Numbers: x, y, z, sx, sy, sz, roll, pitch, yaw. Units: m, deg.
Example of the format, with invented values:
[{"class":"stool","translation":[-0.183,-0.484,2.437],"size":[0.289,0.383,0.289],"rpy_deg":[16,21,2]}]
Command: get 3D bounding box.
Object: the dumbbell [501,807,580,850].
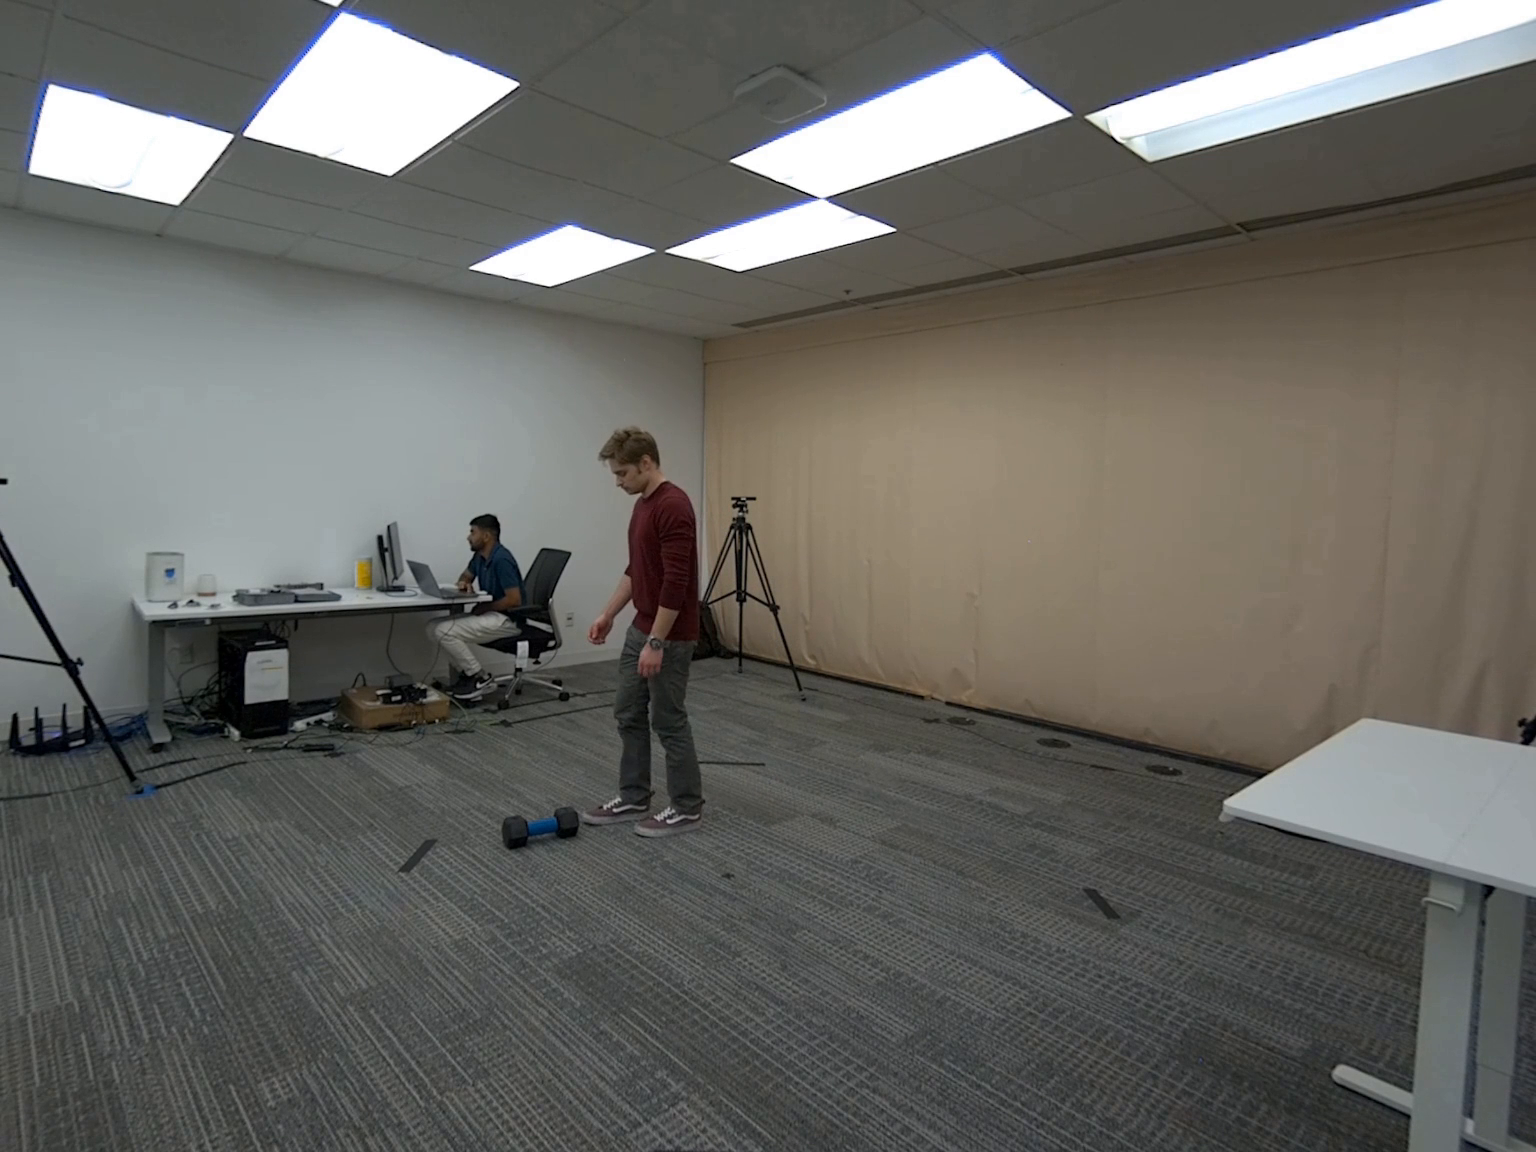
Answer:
[{"class":"dumbbell","translation":[-0.924,1.012,3.387],"size":[0.287,0.125,0.109],"rpy_deg":[-2,-26,-33]}]
